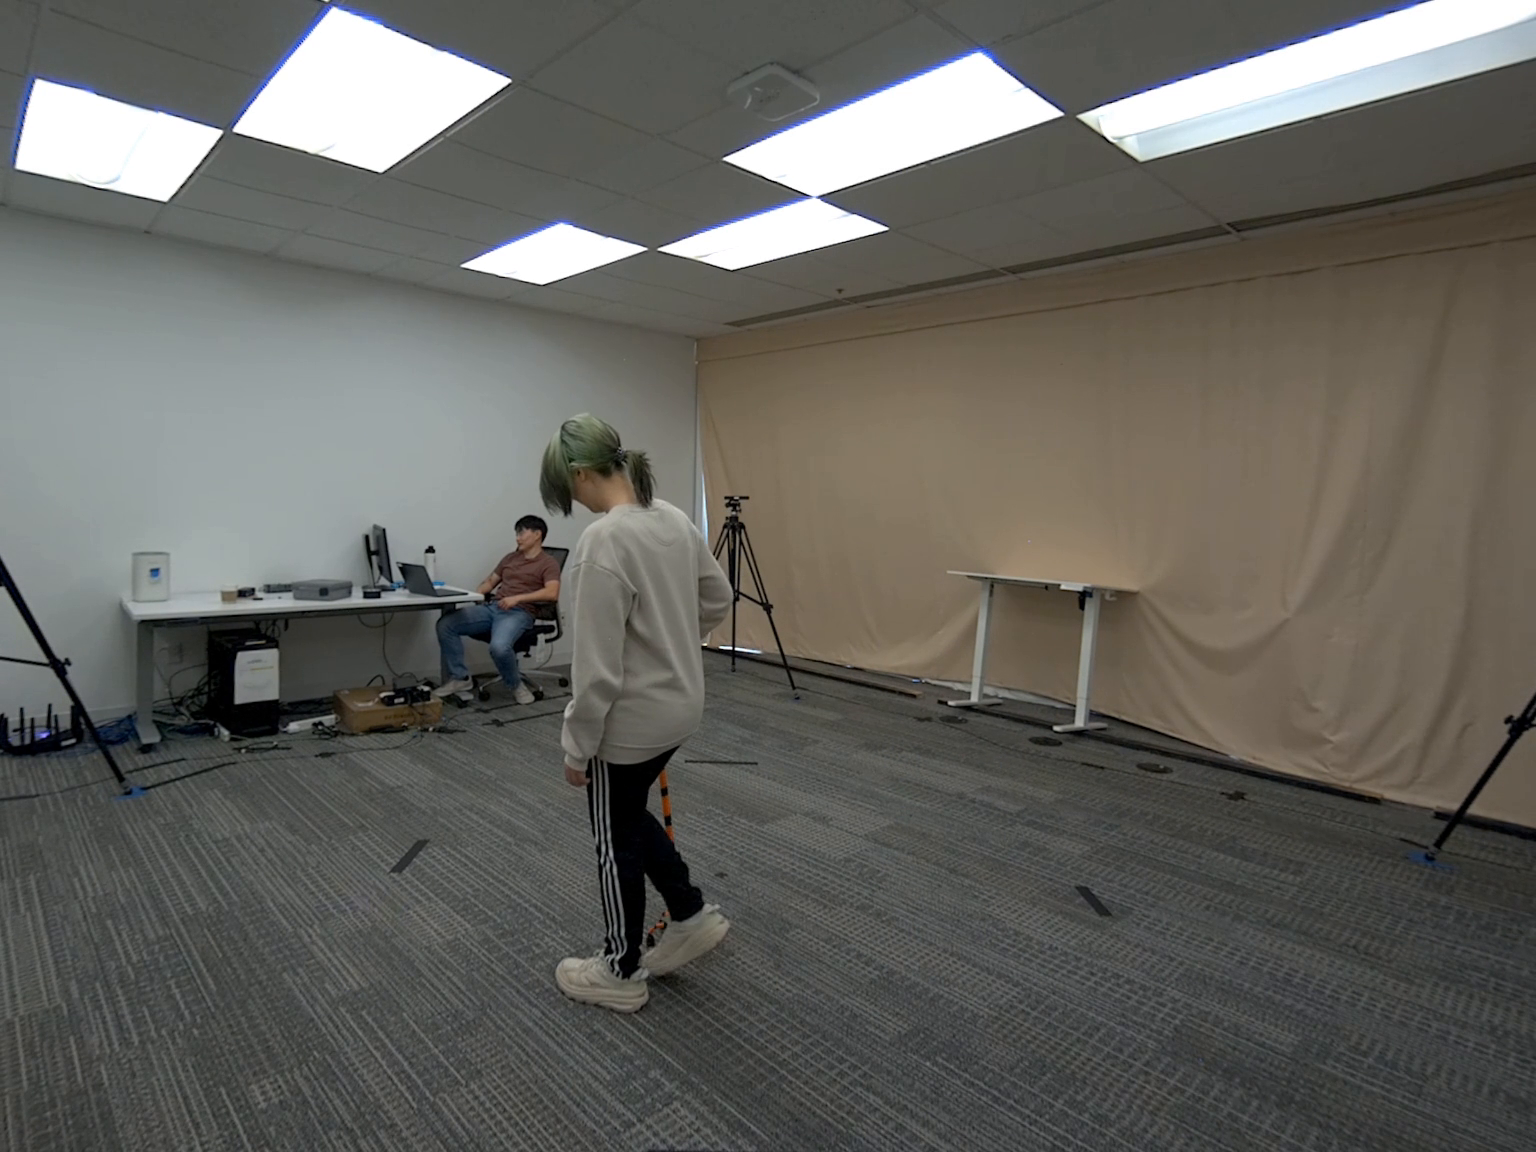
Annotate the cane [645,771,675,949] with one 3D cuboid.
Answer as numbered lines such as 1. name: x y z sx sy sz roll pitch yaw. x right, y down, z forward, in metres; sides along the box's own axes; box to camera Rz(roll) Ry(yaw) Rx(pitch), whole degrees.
1. cane: -0.322 0.668 2.629 0.208 0.910 0.150 -7 -3 12
